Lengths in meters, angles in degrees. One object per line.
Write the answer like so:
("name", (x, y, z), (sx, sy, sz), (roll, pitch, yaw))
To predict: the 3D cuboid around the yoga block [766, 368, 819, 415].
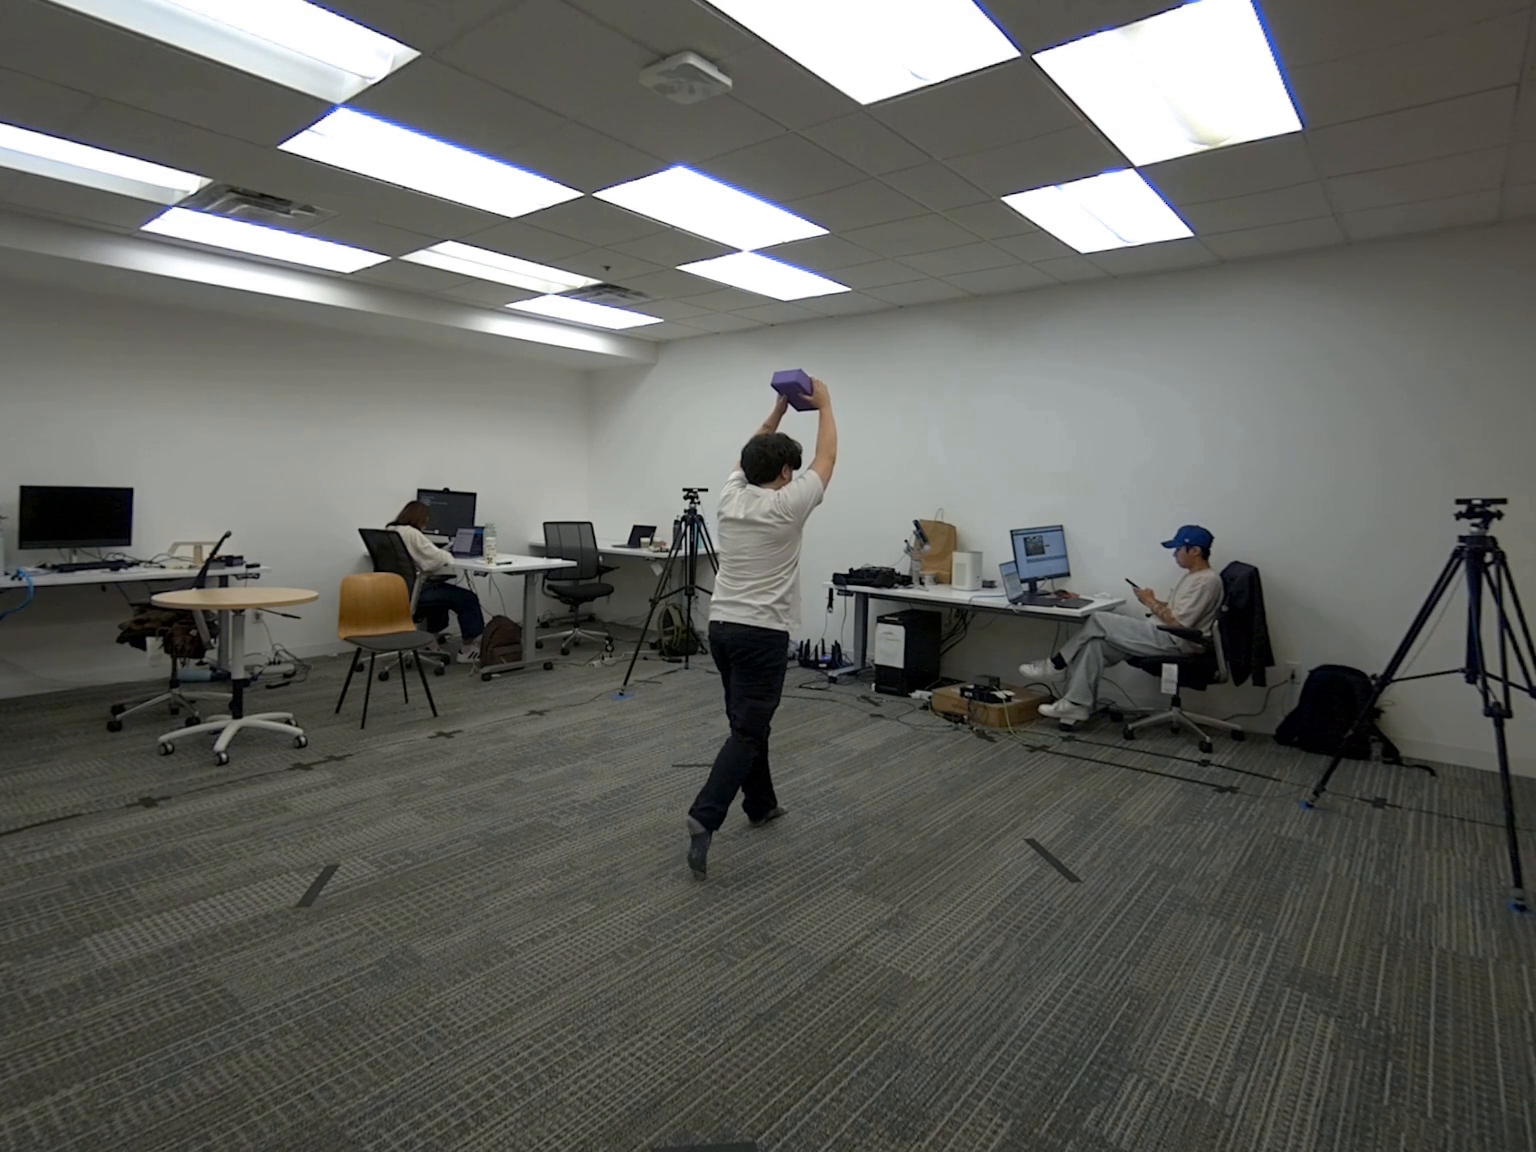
("yoga block", (0.123, -0.799, 3.643), (0.154, 0.077, 0.220), (5, -20, 40))
